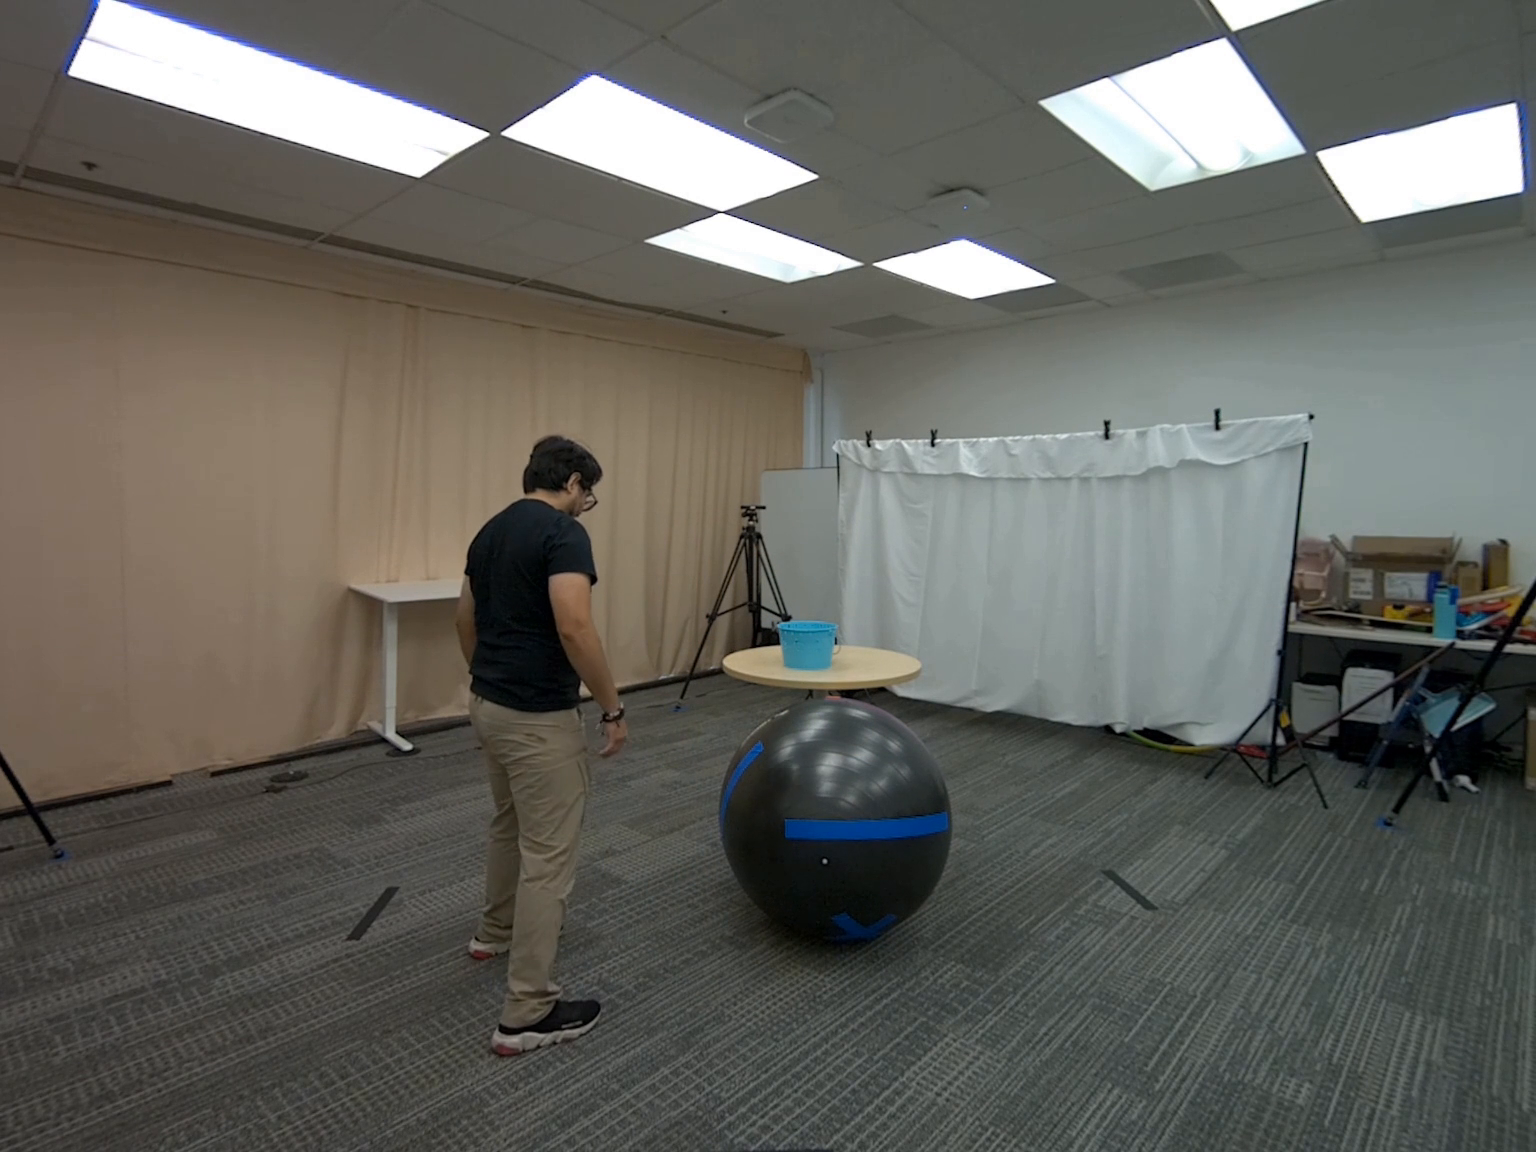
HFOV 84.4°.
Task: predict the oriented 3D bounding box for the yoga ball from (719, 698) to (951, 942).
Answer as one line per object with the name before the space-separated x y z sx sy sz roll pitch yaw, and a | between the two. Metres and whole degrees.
yoga ball | 0.222 0.794 2.777 0.757 0.756 0.760 0 4 -2
